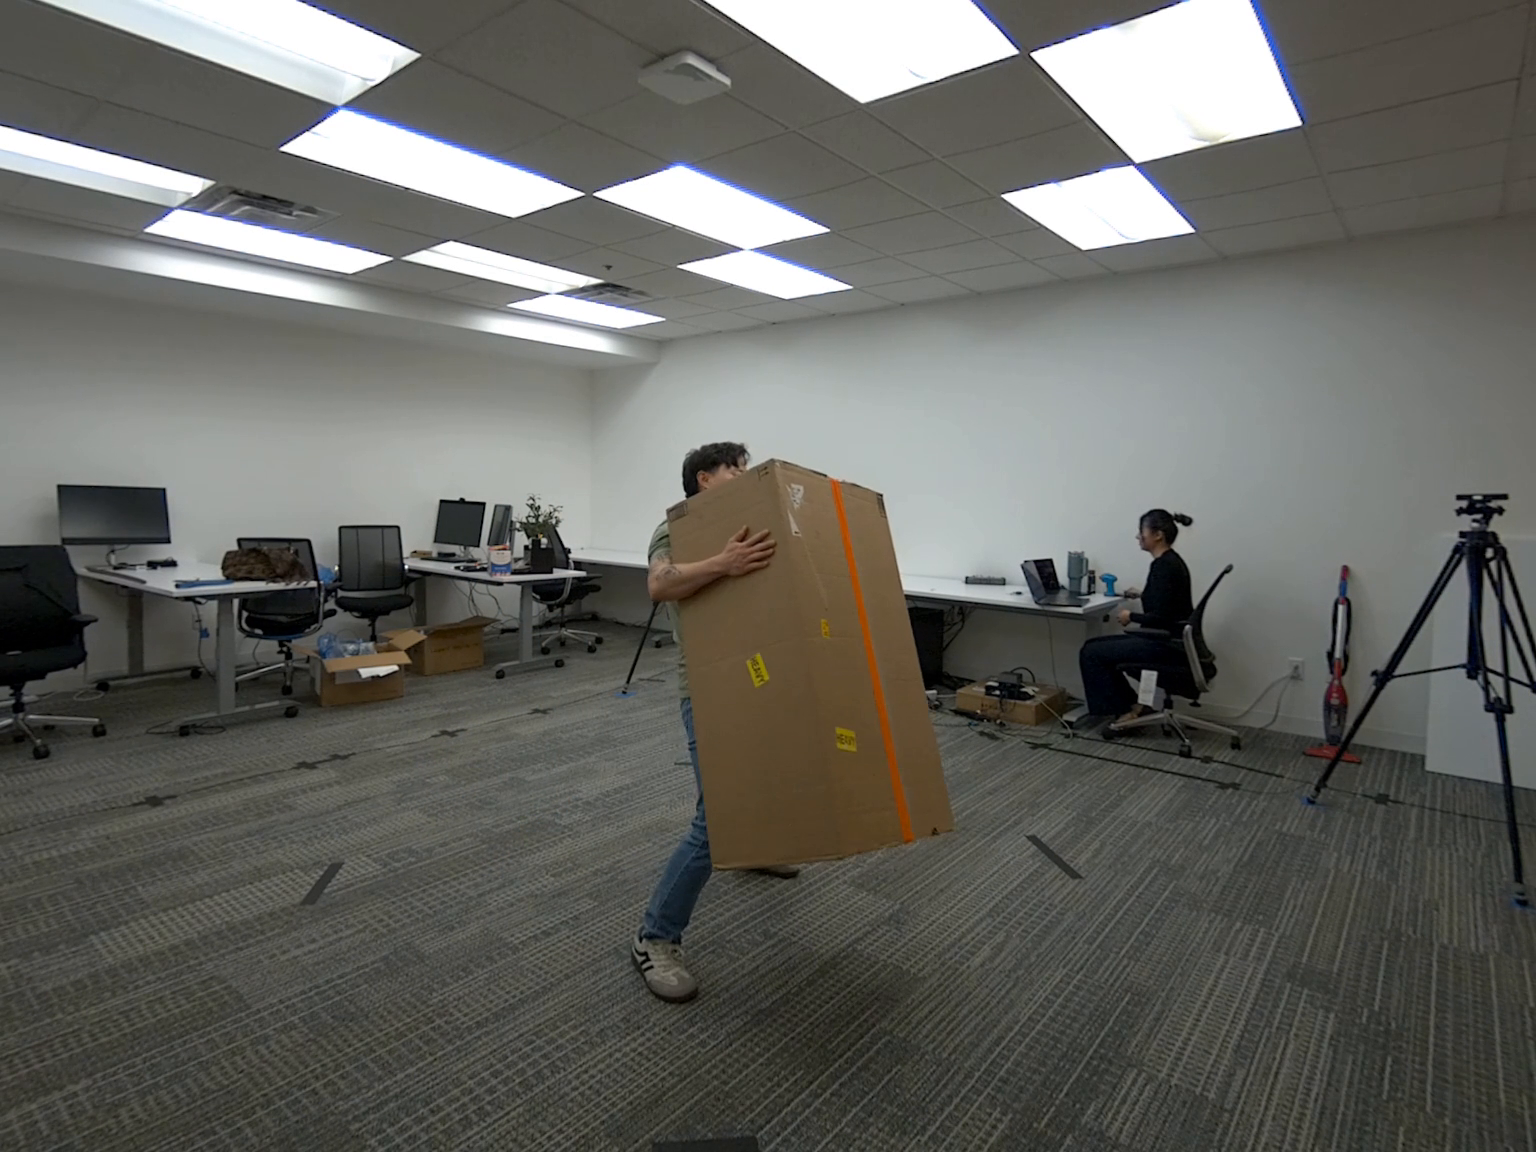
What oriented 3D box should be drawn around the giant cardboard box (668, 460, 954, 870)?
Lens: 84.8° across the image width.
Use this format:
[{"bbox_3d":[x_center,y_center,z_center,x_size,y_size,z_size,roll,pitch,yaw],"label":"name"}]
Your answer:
[{"bbox_3d":[0.109,0.250,2.462,0.434,1.046,0.557,-23,-22,37],"label":"giant cardboard box"}]
